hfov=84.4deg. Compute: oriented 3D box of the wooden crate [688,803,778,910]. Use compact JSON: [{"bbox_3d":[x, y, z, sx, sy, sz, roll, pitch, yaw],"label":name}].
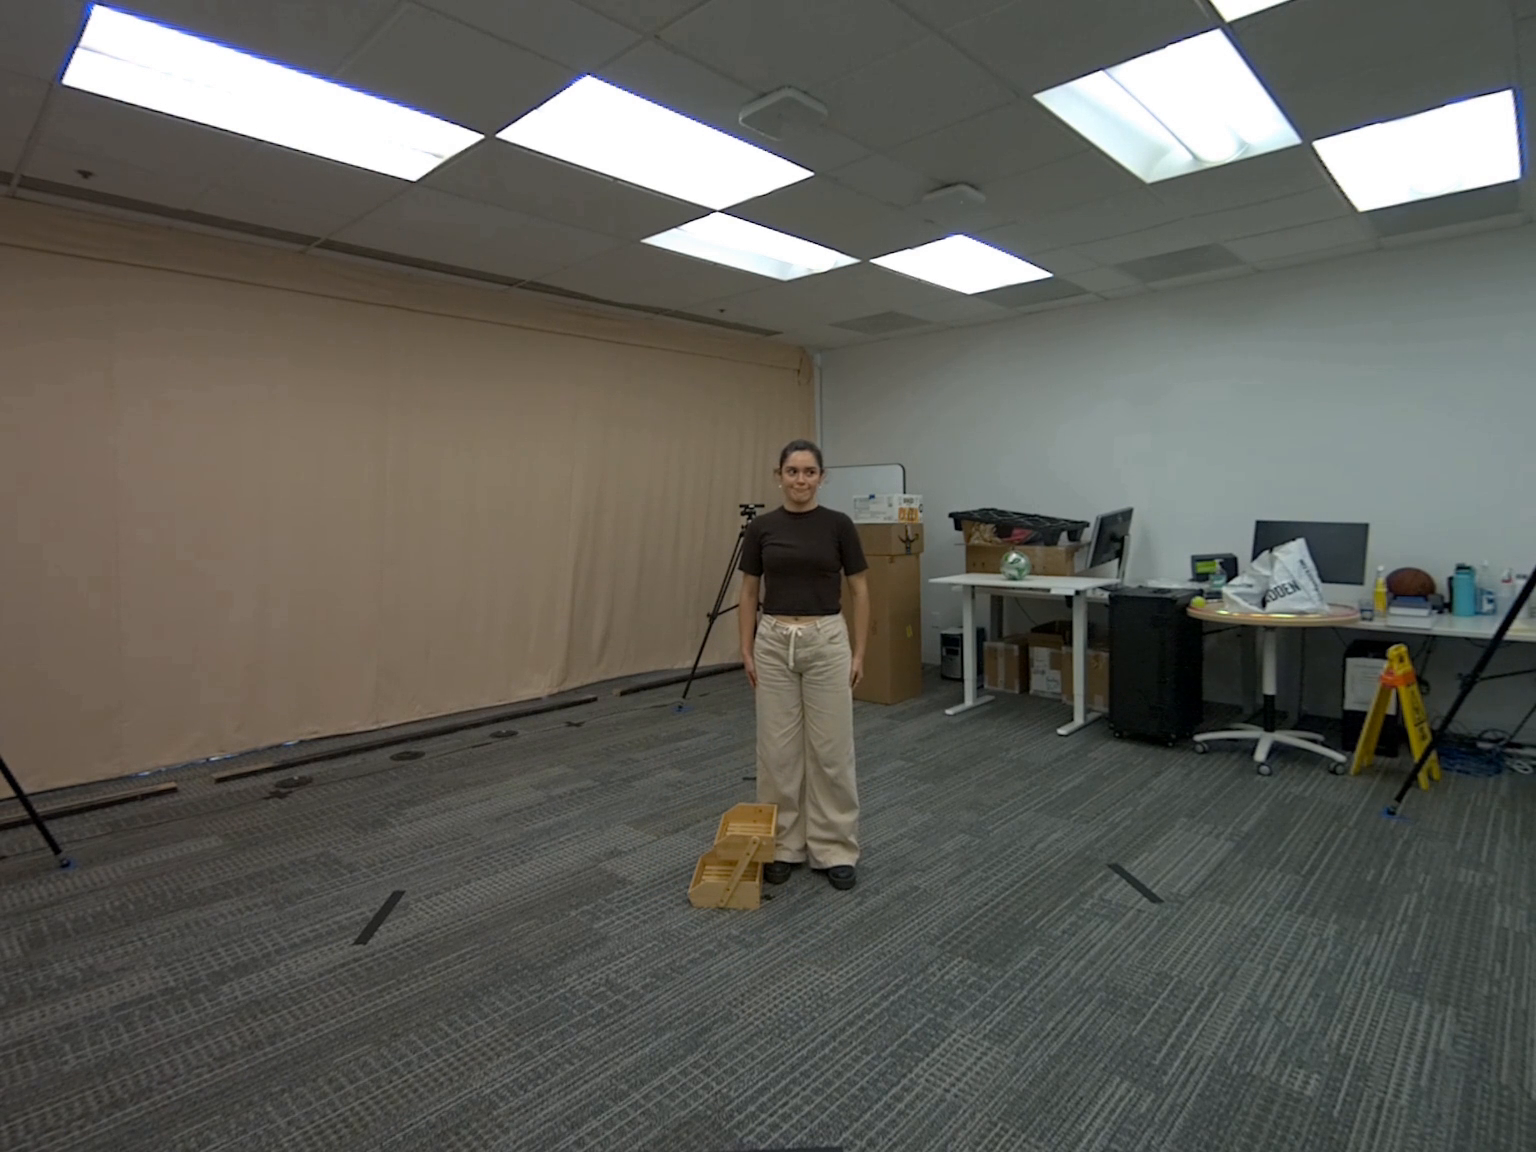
[{"bbox_3d":[-0.125,1.002,3.047,0.304,0.273,0.323,1,4,5],"label":"wooden crate"}]
